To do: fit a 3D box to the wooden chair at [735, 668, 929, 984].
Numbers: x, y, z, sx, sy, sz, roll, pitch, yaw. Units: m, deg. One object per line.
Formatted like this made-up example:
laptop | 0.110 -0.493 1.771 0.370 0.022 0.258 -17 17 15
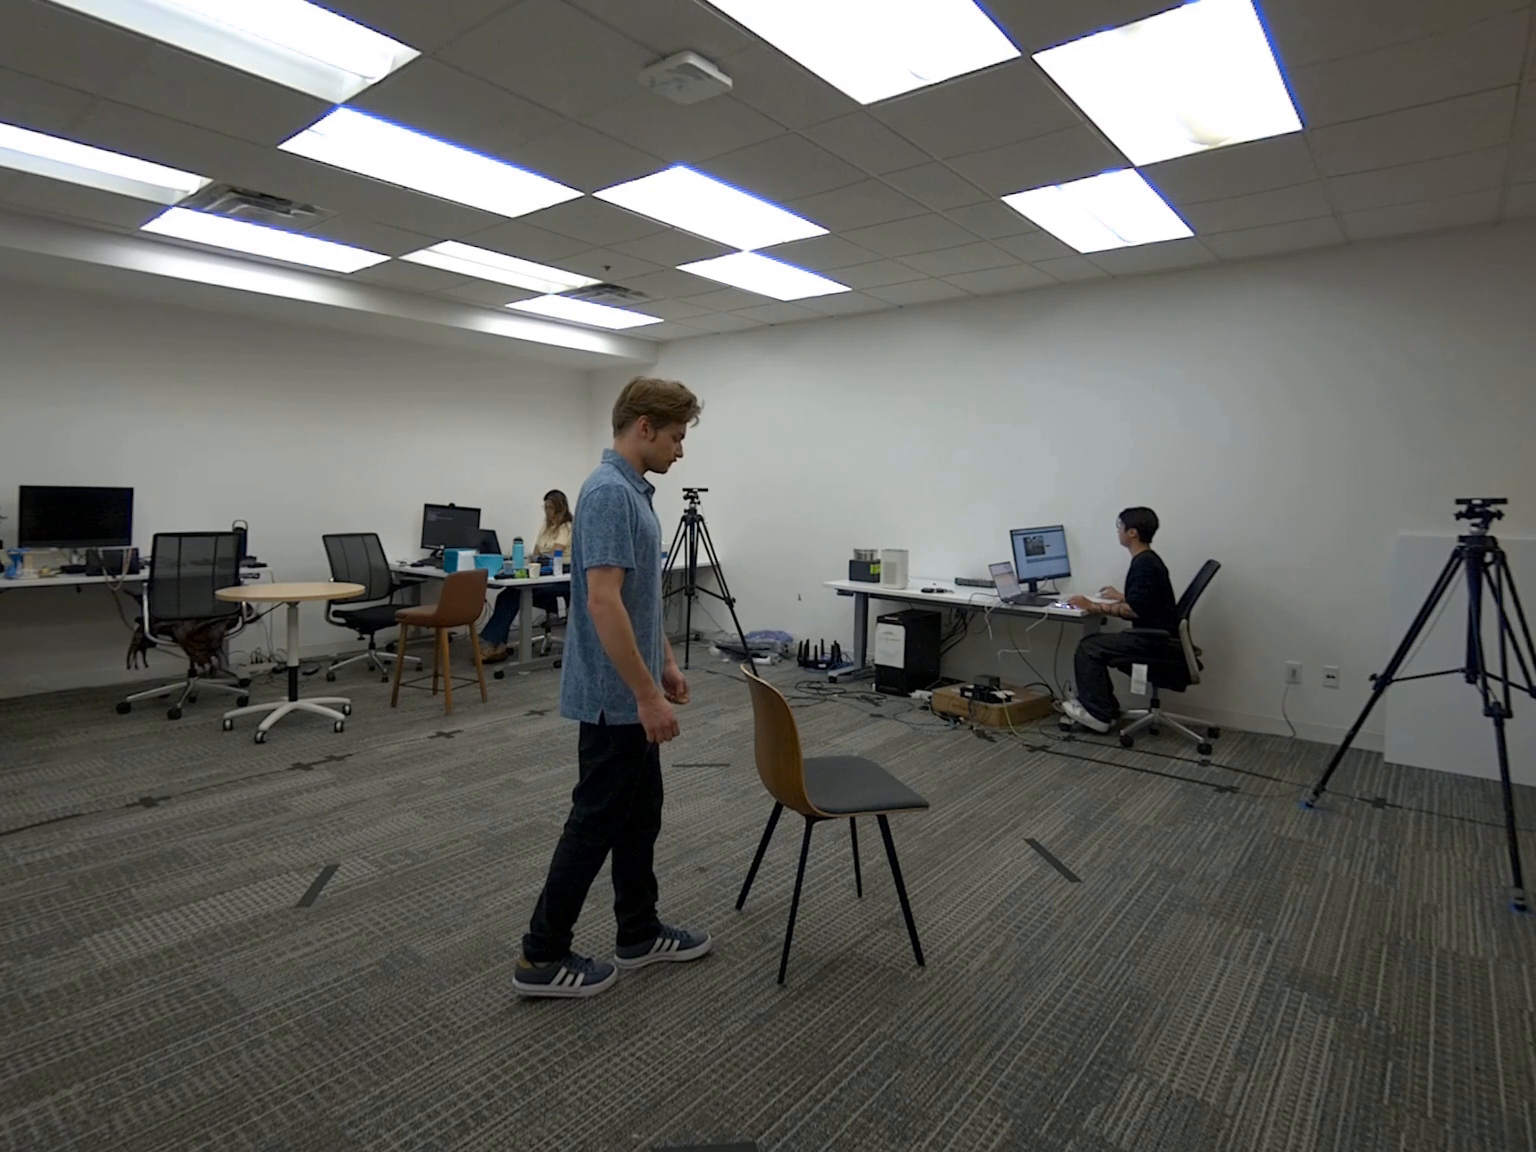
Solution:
wooden chair | 0.190 0.693 2.644 0.515 0.874 0.488 -4 4 -17
